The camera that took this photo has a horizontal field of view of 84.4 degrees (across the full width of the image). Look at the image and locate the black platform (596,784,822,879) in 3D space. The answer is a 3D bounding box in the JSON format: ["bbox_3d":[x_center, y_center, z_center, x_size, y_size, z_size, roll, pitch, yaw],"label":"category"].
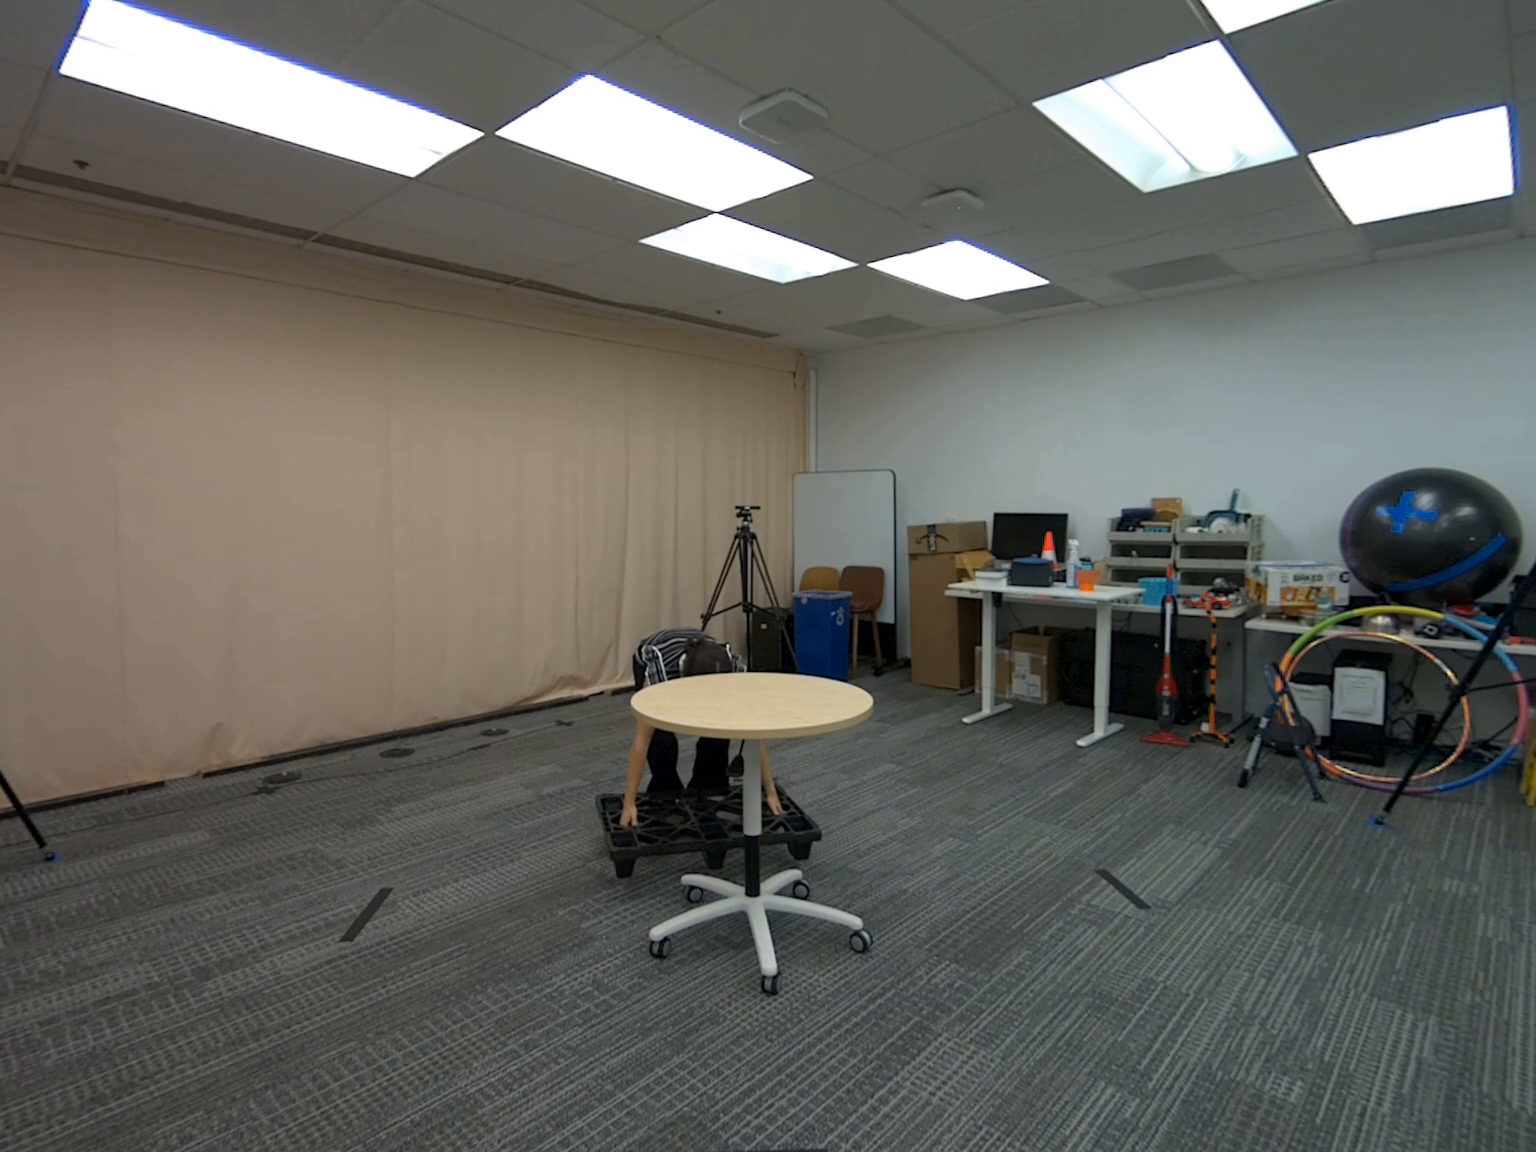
[{"bbox_3d":[-0.256,1.009,3.352,0.794,0.143,0.616,-1,5,-14],"label":"black platform"}]
